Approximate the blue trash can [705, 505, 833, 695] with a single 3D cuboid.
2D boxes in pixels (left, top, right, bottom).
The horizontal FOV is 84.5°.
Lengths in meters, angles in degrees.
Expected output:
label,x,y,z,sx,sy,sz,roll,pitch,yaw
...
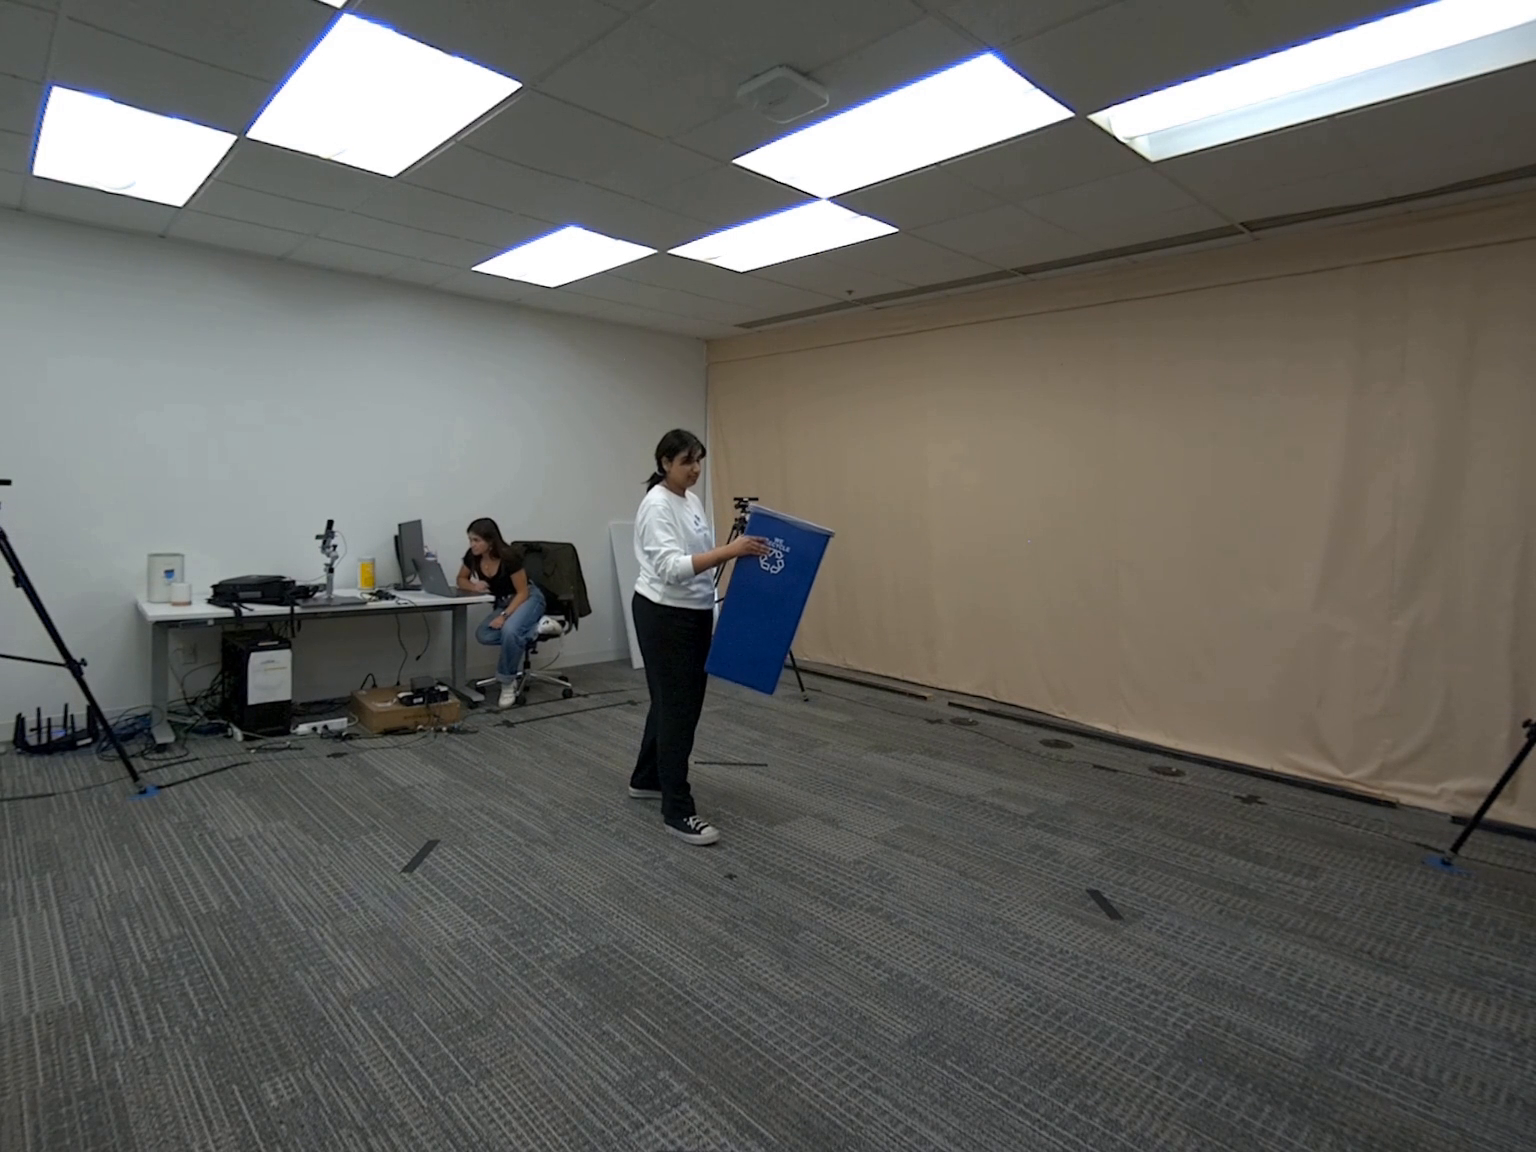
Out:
label,x,y,z,sx,sy,sz,roll,pitch,yaw
blue trash can,-0.002,0.092,3.558,0.377,0.712,0.376,18,3,6
